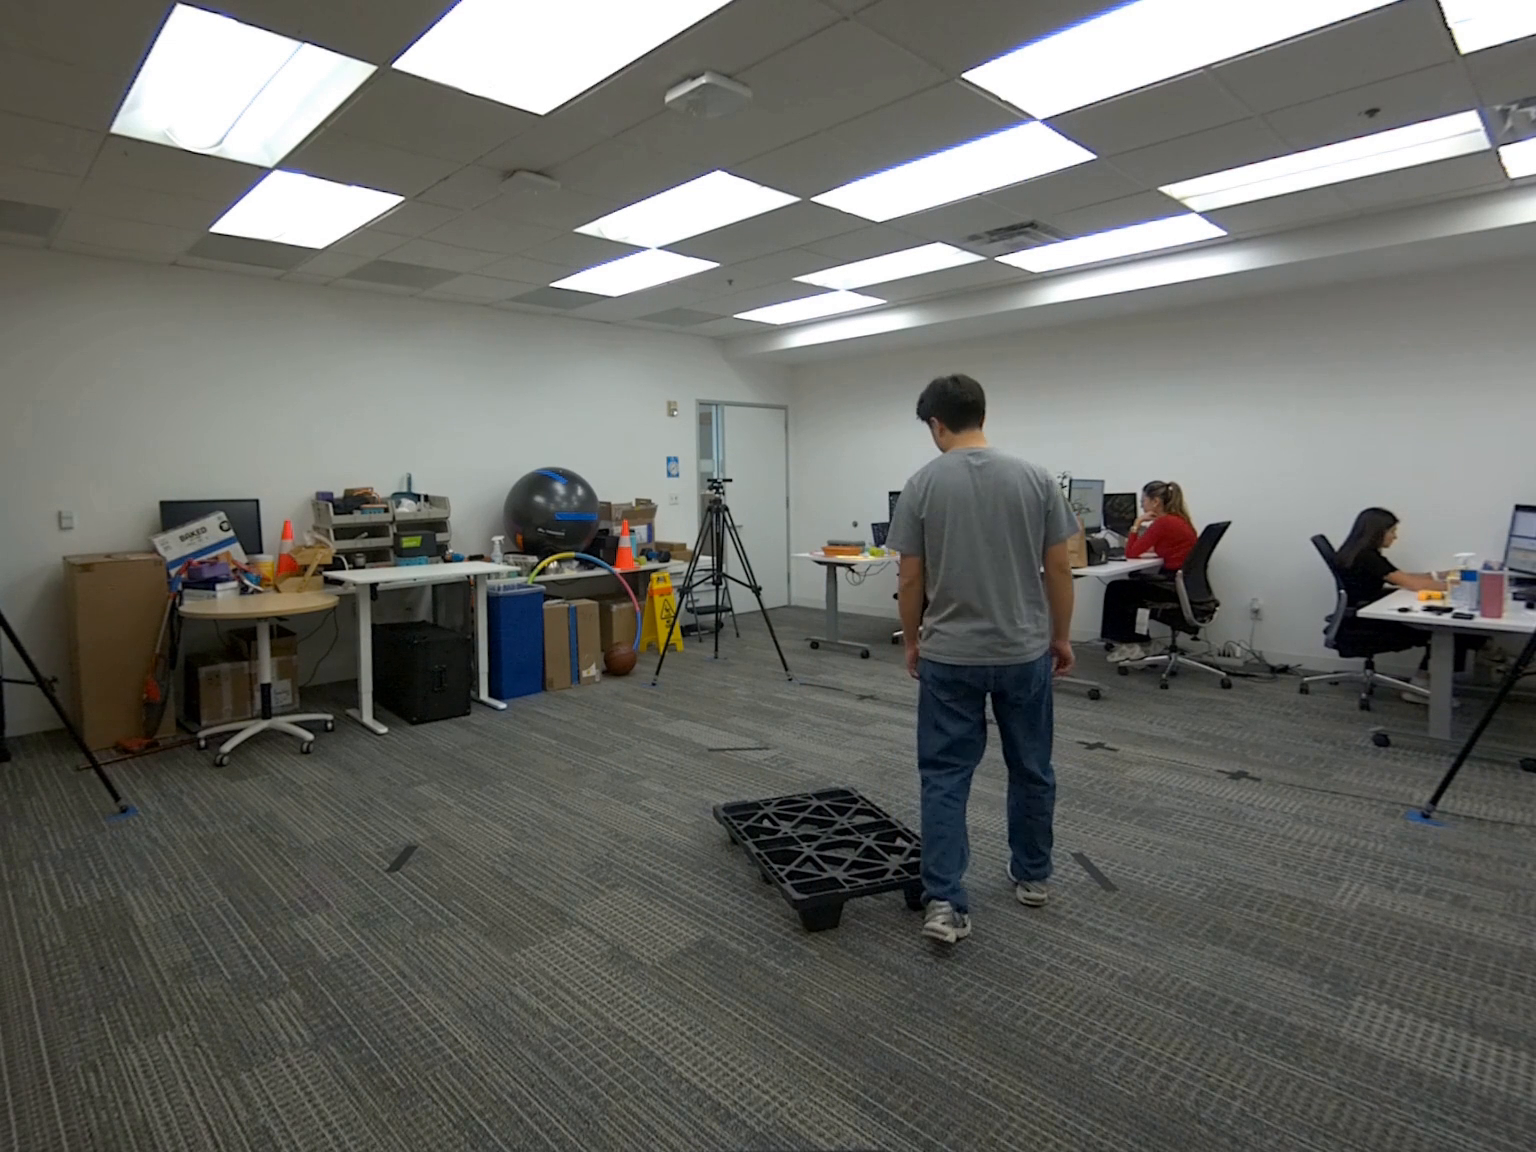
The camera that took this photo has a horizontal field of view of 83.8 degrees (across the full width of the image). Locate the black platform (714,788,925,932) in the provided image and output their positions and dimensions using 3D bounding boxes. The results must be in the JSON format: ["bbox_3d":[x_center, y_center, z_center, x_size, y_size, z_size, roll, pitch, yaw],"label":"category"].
[{"bbox_3d":[0.207,0.981,3.033,0.595,0.142,0.823,-4,7,-21],"label":"black platform"}]
